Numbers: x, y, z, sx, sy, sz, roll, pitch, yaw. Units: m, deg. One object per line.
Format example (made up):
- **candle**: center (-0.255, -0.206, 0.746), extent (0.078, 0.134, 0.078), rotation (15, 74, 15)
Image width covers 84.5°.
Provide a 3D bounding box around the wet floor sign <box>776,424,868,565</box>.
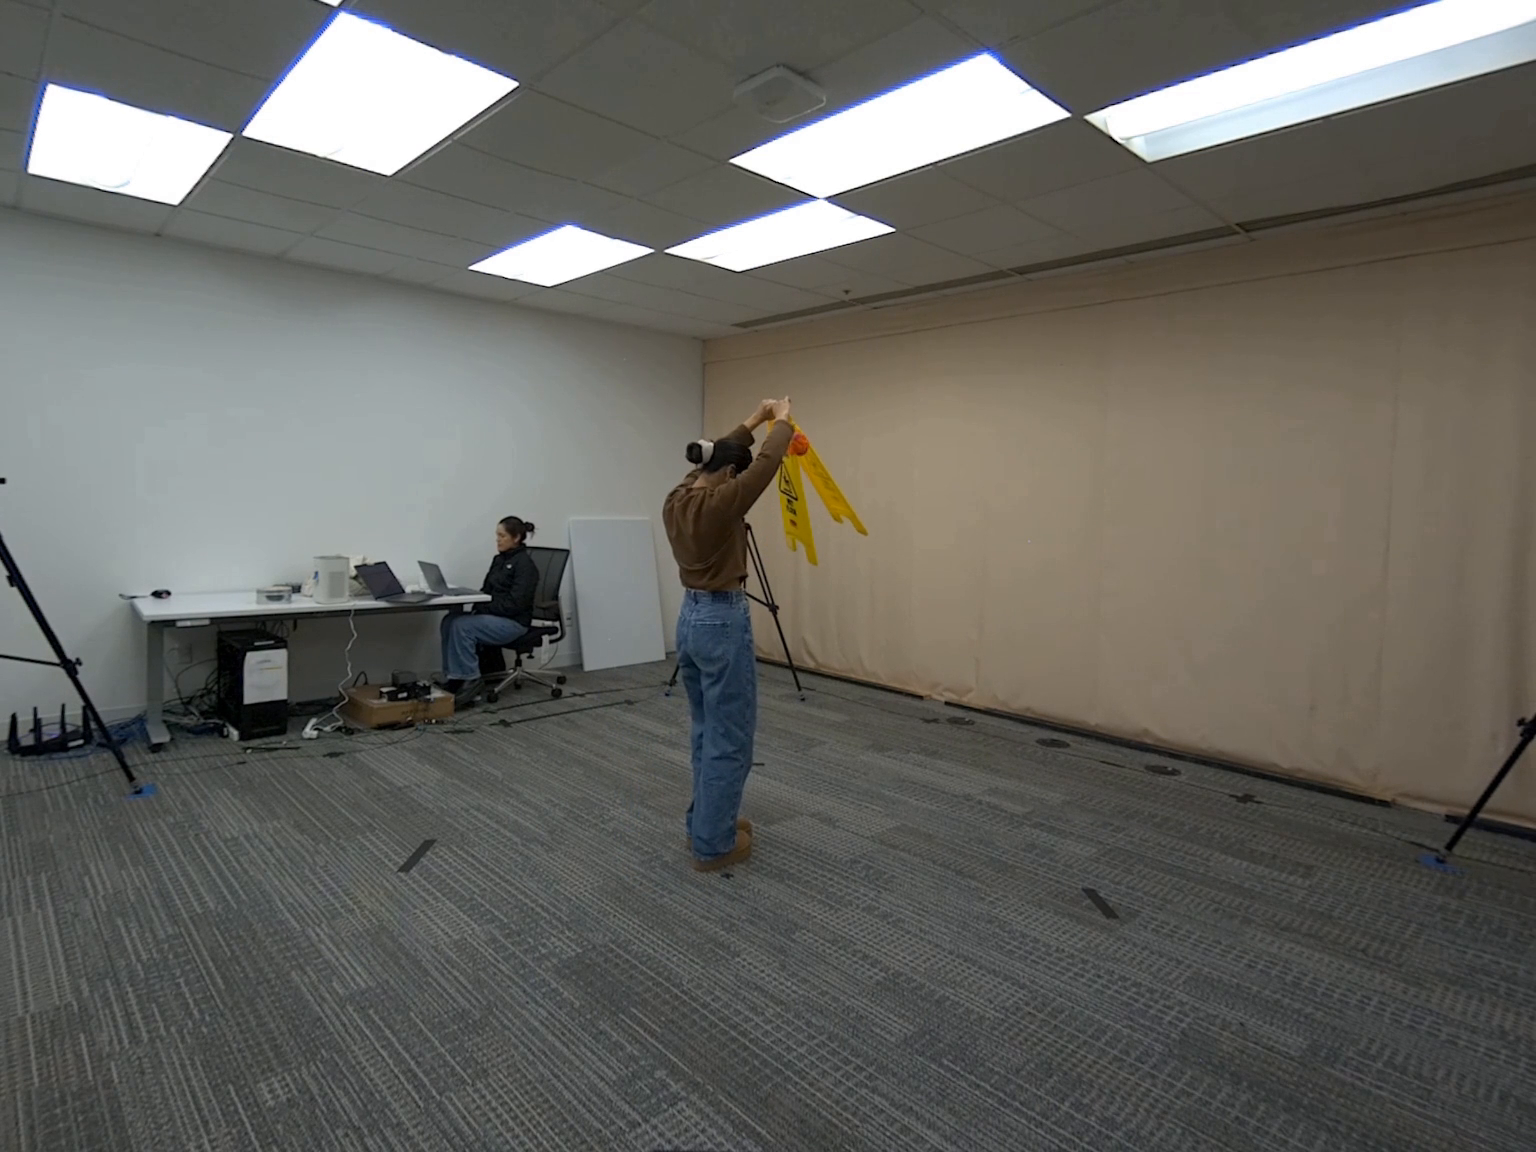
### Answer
- **wet floor sign**: center (0.142, -0.409, 3.499), extent (0.288, 0.631, 0.290), rotation (-29, 26, -13)
